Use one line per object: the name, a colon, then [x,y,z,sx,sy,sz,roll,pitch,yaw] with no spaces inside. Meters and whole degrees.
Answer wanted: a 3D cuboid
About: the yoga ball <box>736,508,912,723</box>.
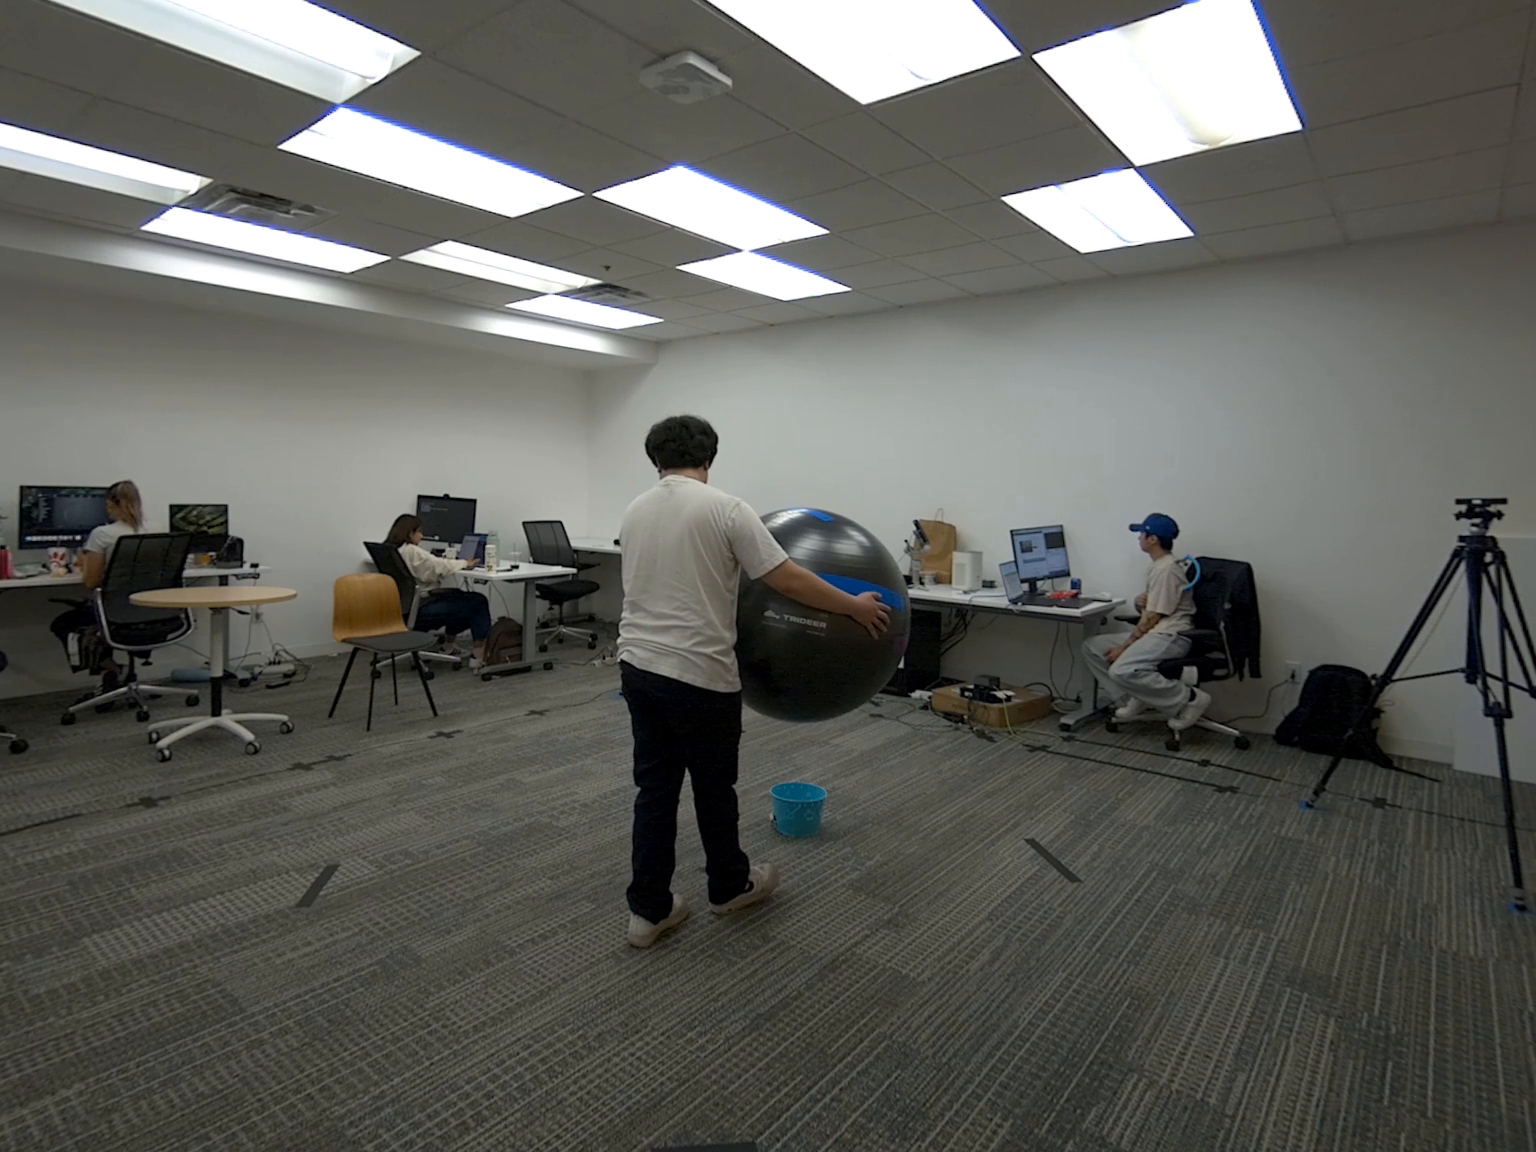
yoga ball: [0.131,0.139,3.047,0.757,0.755,0.762,1,4,-2]
